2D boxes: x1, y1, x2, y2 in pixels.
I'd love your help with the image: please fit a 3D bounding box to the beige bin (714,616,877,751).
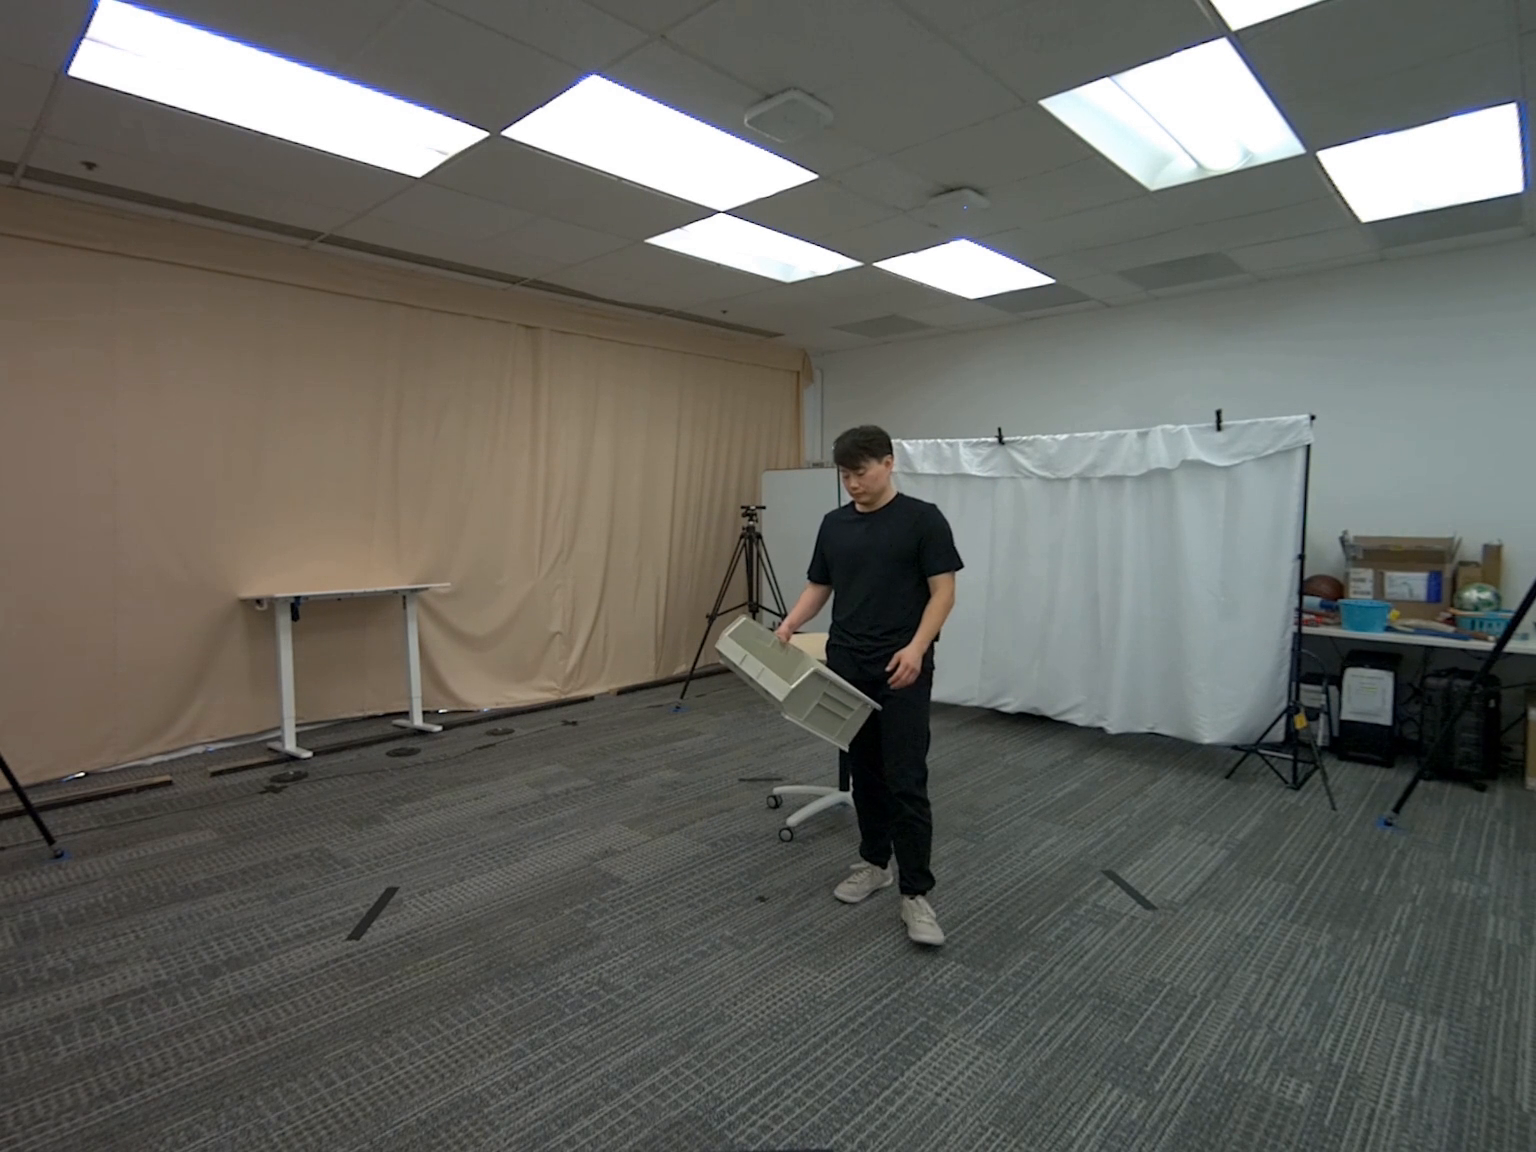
[{"bbox_3d":[0.089,0.337,2.738,0.364,0.189,0.437,35,-2,-38],"label":"beige bin"}]
